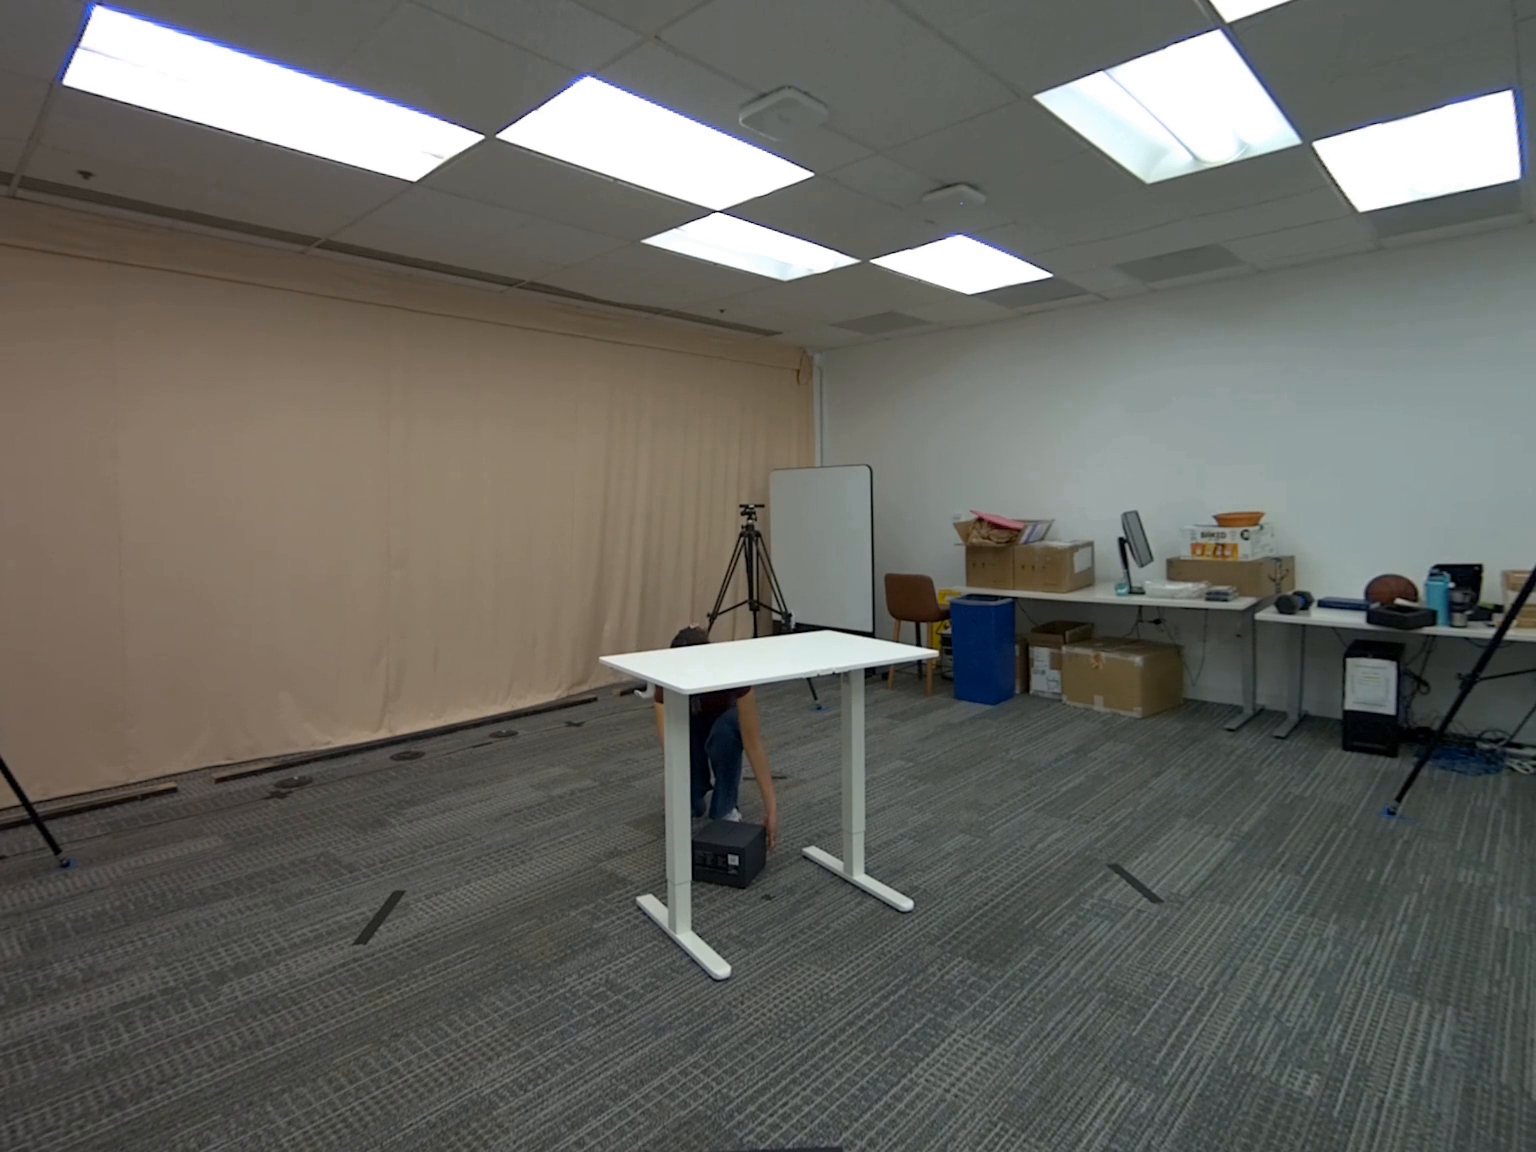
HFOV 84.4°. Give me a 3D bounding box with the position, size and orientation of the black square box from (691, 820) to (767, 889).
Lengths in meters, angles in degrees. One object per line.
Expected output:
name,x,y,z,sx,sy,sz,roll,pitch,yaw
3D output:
black square box,-0.145,1.039,3.187,0.222,0.155,0.223,0,5,22
